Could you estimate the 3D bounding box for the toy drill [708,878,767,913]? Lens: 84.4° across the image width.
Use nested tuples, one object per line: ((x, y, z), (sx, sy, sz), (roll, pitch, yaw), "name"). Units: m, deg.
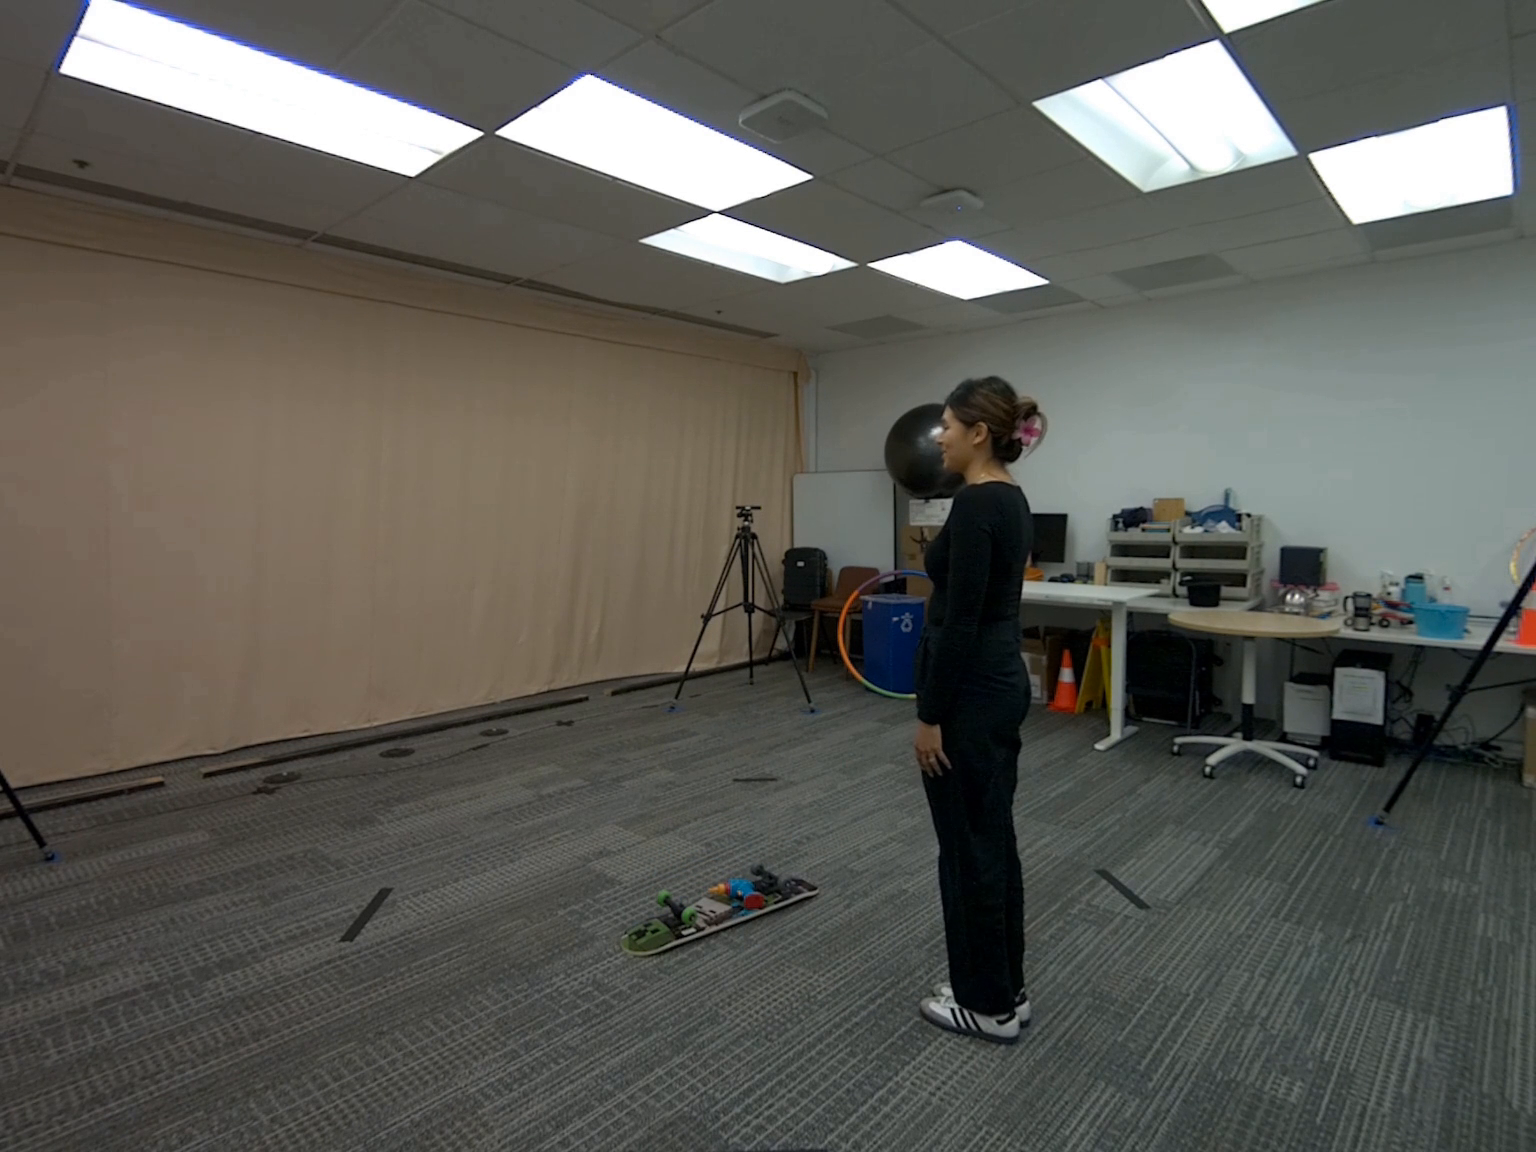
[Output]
((-0.110, 1.089, 2.894), (0.165, 0.061, 0.150), (5, 2, -25), "toy drill")
